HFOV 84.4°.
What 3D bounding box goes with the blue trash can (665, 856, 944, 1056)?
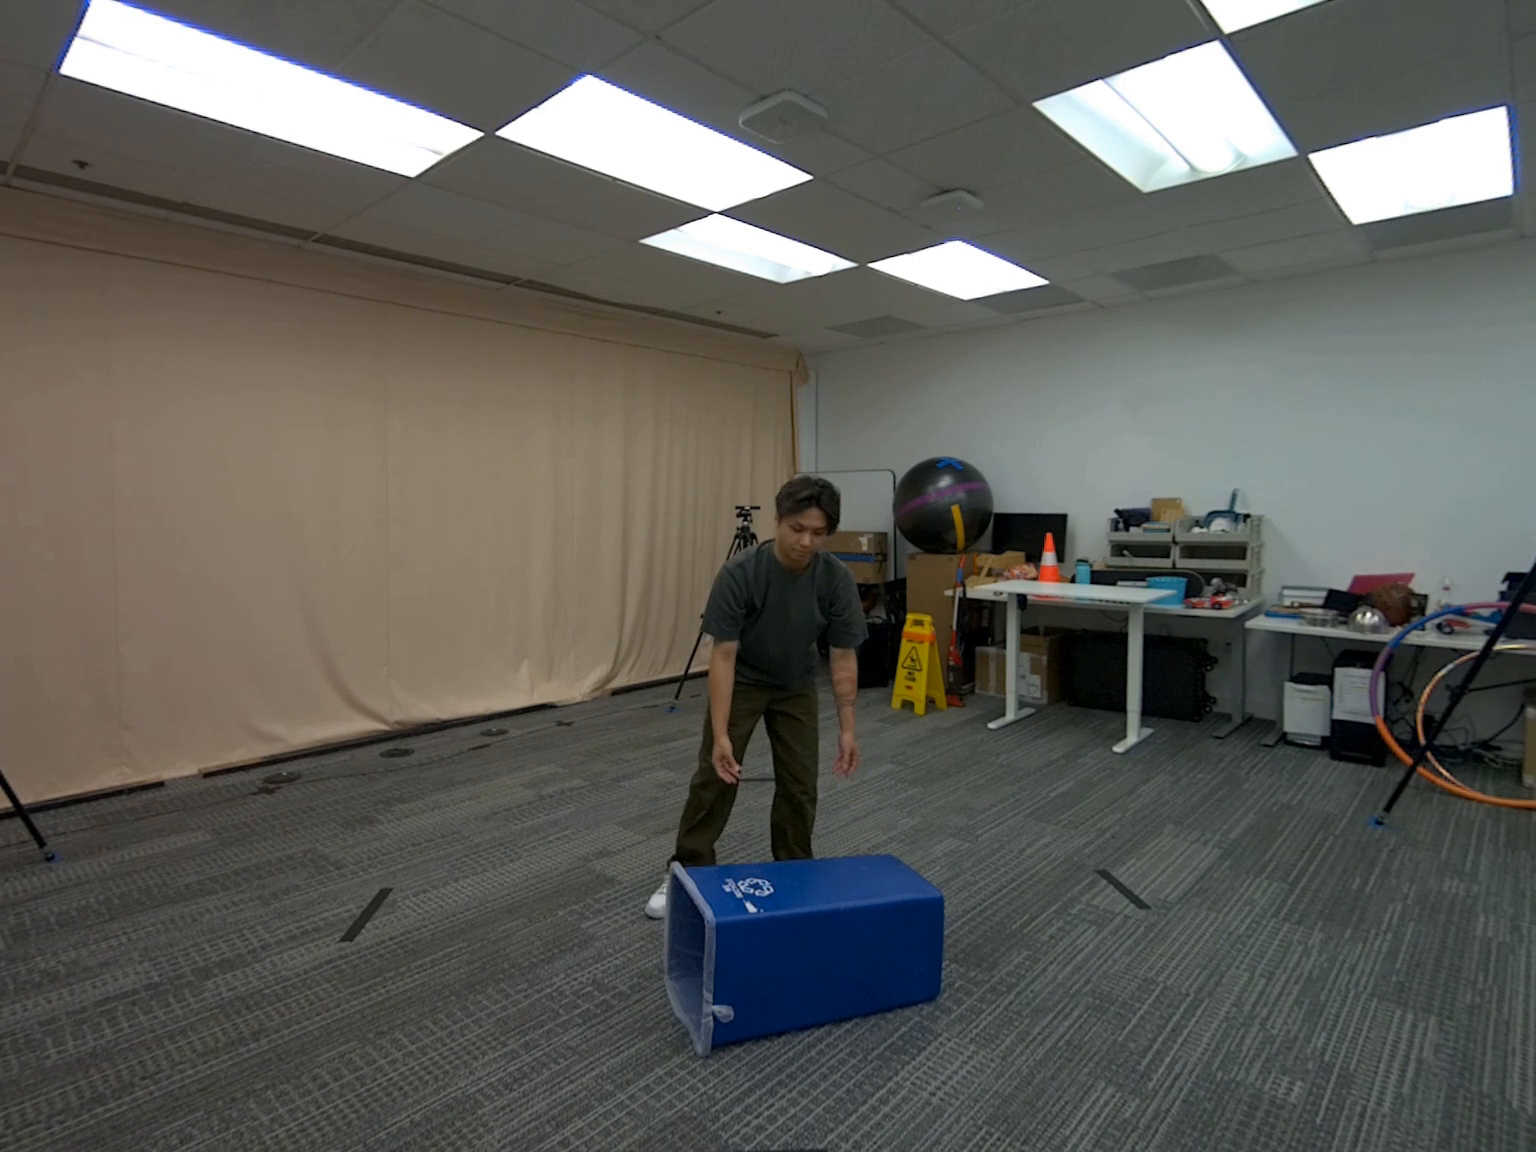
[{"bbox_3d":[0.112,1.018,2.388,0.699,0.373,0.386,0,3,-20],"label":"blue trash can"}]
